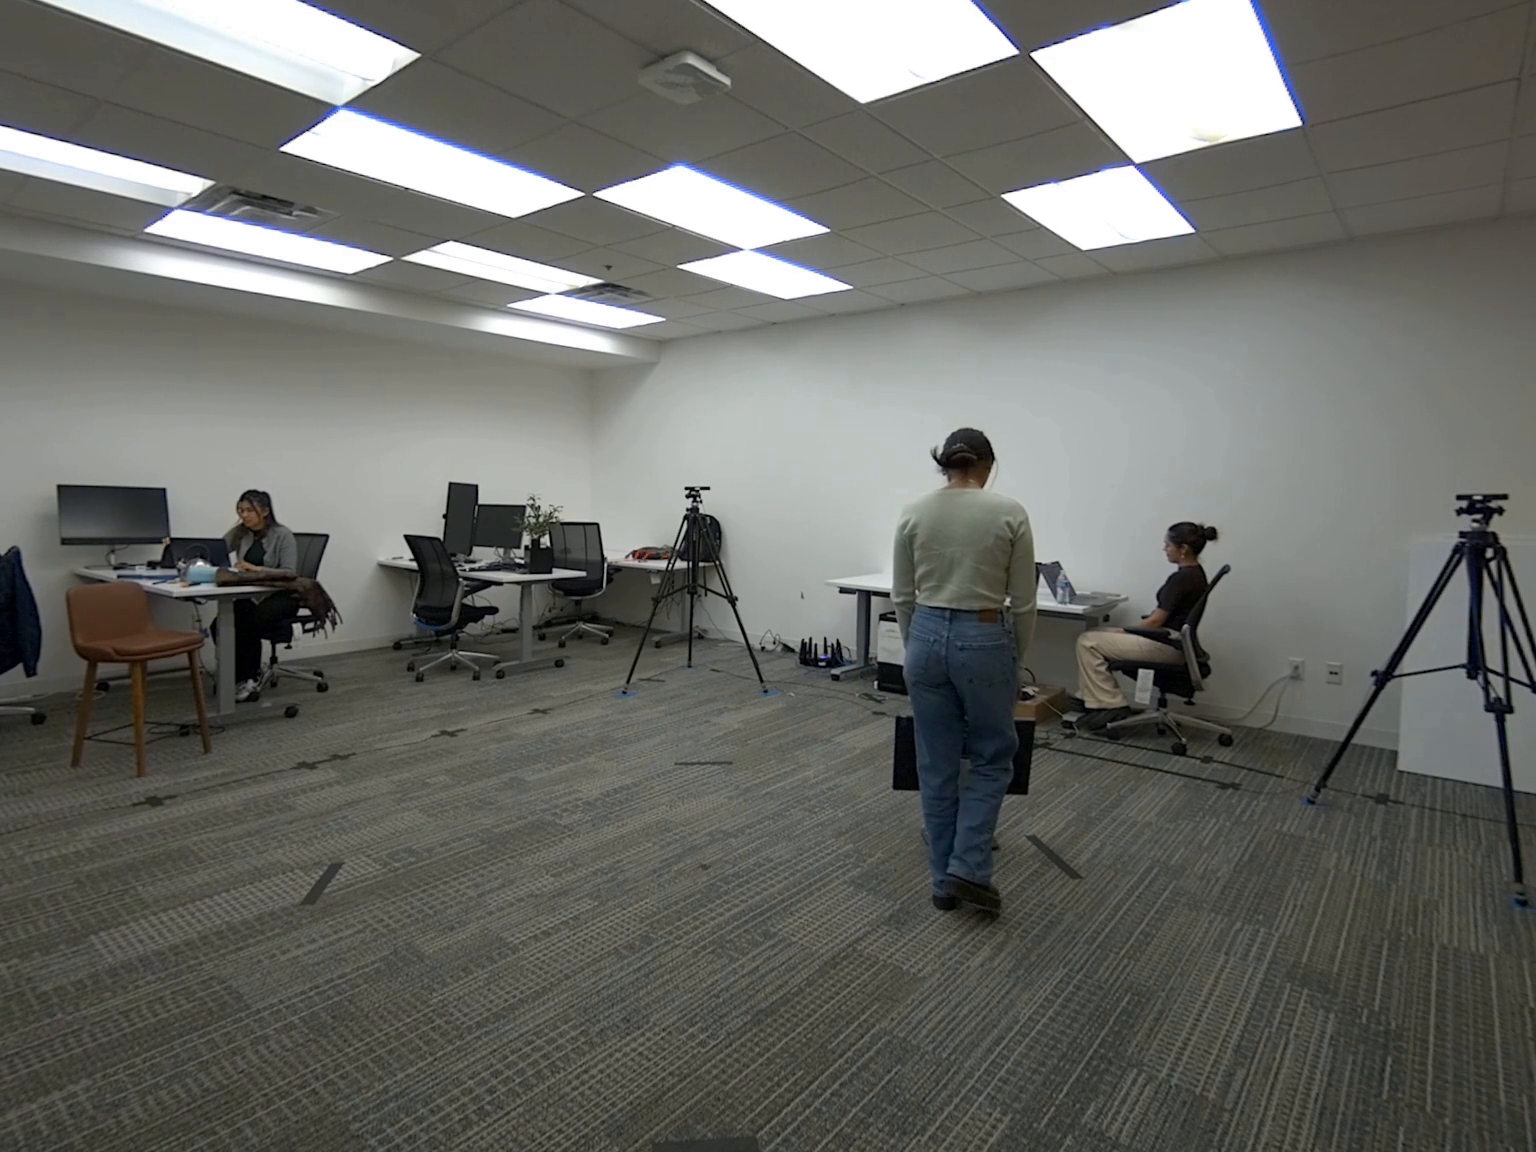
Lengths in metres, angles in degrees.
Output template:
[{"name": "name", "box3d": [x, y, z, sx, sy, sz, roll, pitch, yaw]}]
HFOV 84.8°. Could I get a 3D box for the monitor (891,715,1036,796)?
[{"name": "monitor", "box3d": [0.766, 0.787, 3.363, 0.533, 0.515, 0.174, 0, 2, 6]}]
